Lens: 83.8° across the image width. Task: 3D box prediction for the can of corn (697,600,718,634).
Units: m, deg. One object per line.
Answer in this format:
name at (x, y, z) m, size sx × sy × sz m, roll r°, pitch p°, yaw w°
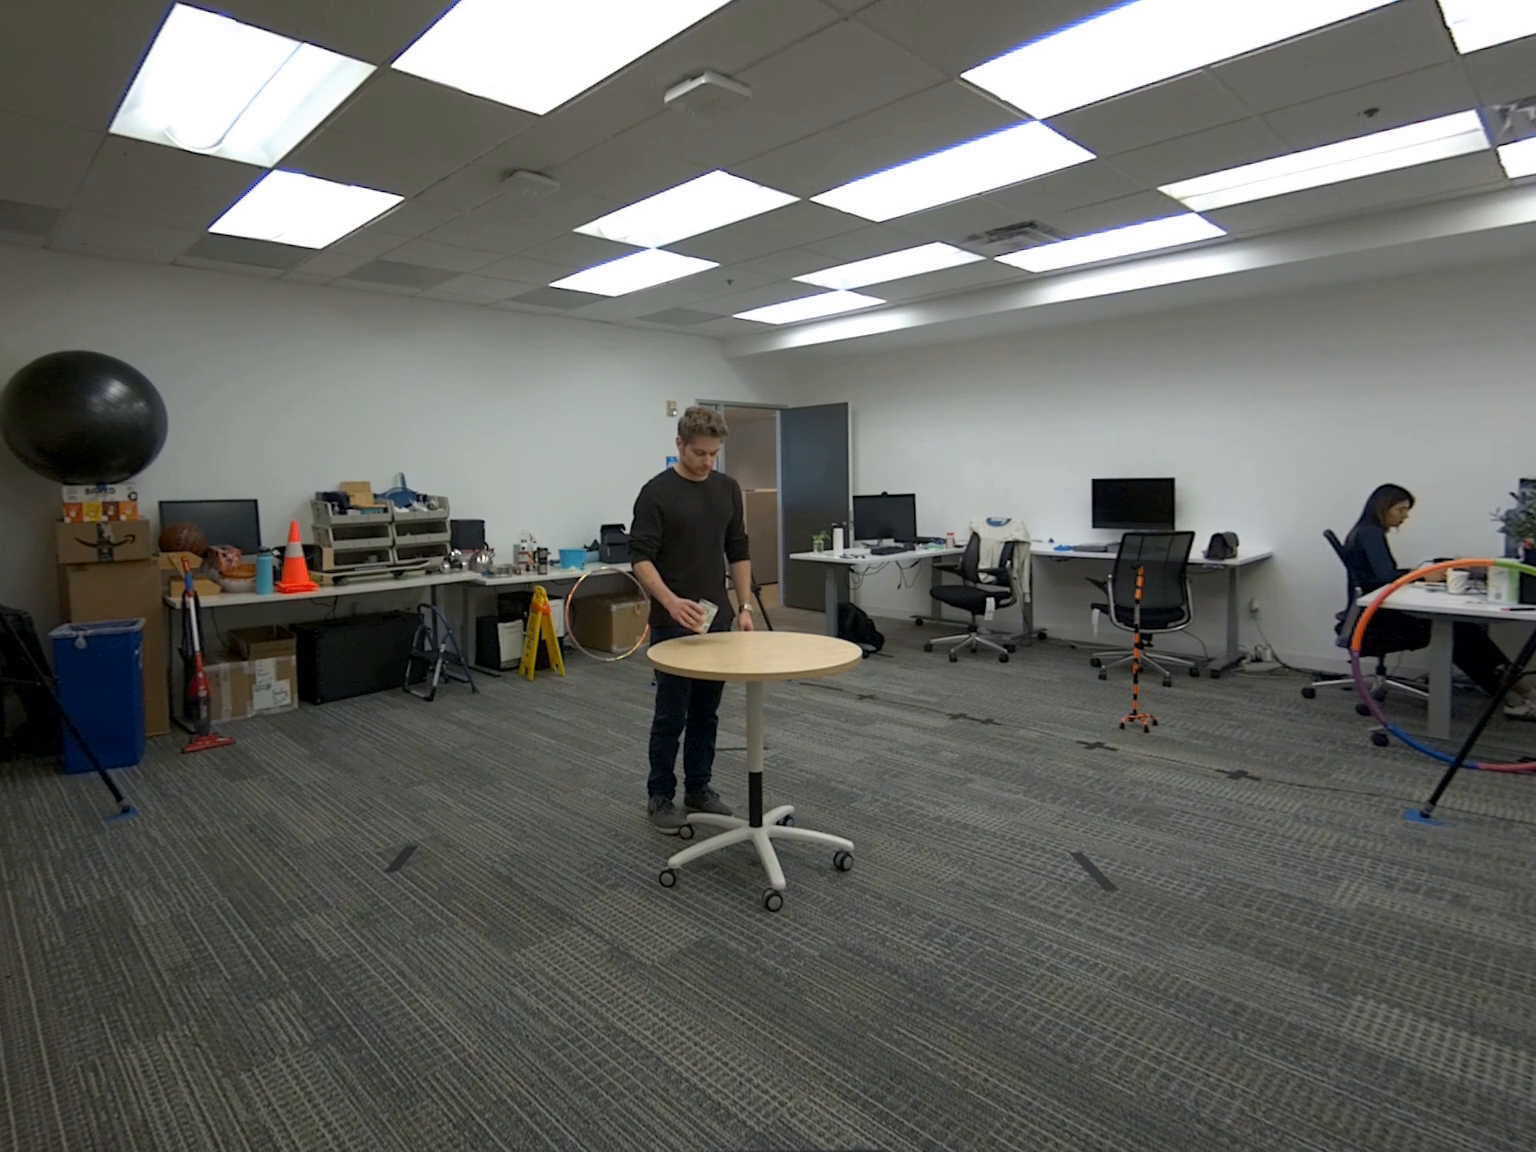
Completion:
can of corn at (-0.250, 0.158, 3.186) m, size 0.074 × 0.111 × 0.074 m, roll 24°, pitch -1°, yaw -1°
